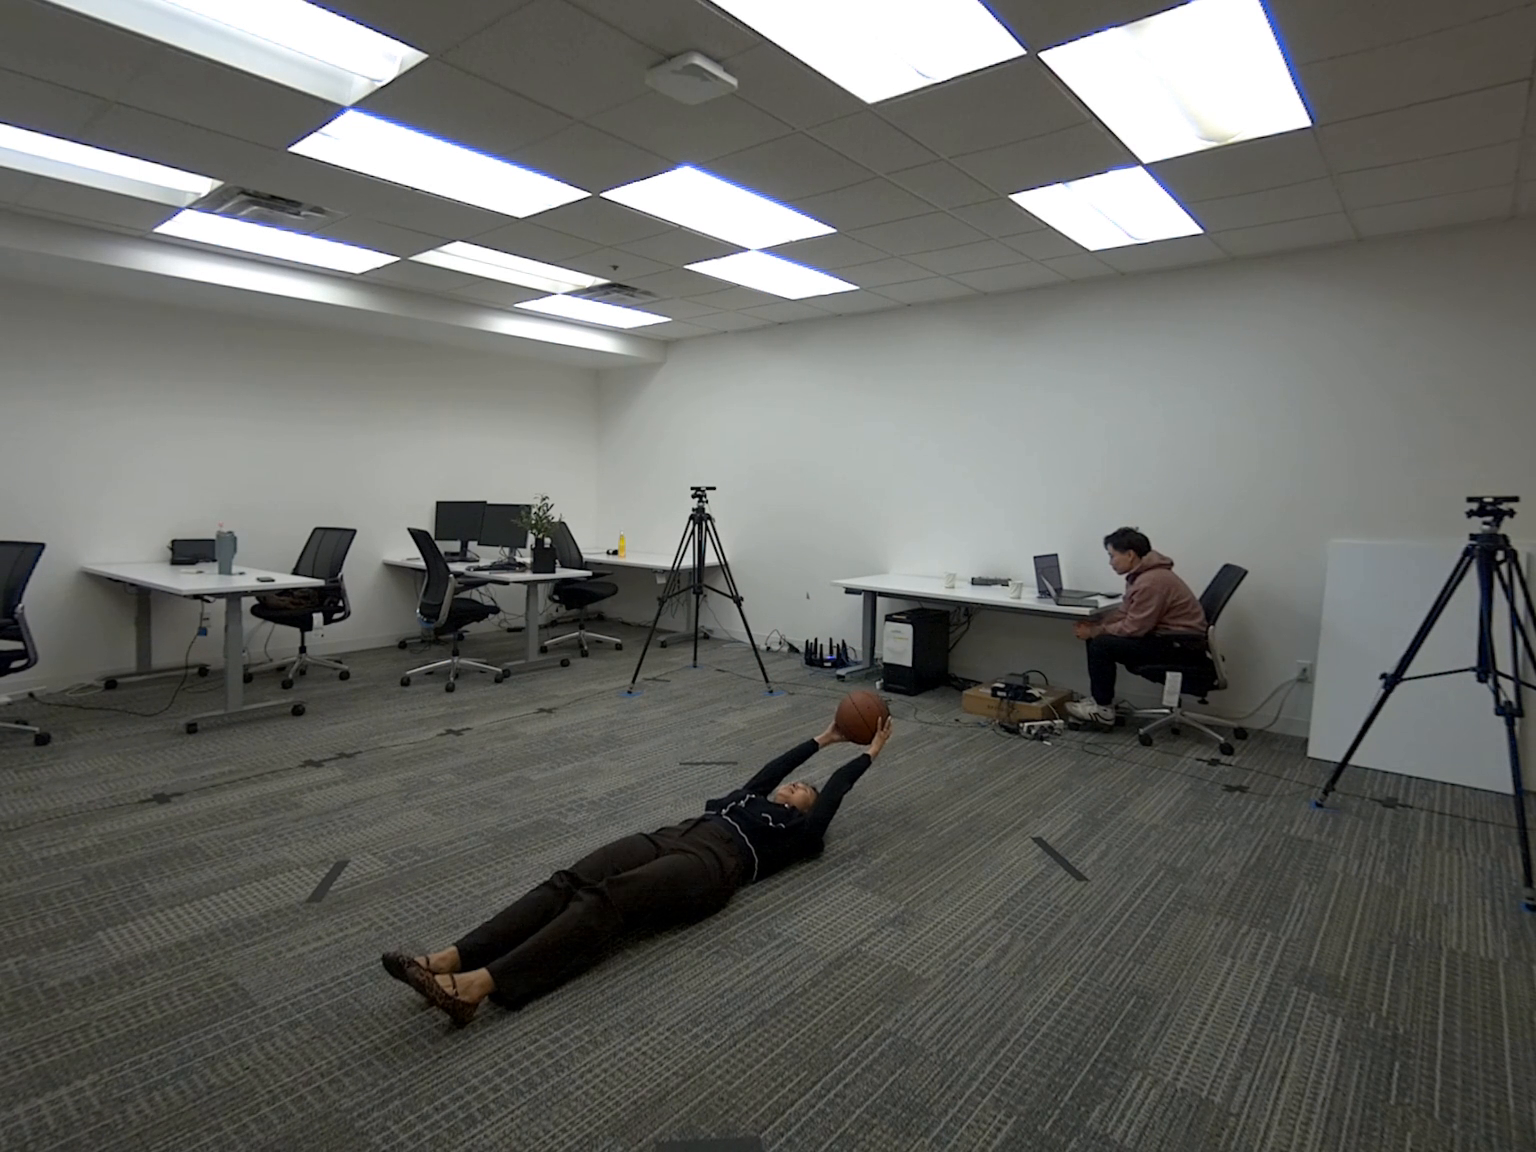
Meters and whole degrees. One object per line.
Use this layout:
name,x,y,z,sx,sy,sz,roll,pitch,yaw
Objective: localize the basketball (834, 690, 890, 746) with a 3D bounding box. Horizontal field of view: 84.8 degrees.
basketball,0.414,0.620,3.730,0.236,0.235,0.237,1,4,-2
